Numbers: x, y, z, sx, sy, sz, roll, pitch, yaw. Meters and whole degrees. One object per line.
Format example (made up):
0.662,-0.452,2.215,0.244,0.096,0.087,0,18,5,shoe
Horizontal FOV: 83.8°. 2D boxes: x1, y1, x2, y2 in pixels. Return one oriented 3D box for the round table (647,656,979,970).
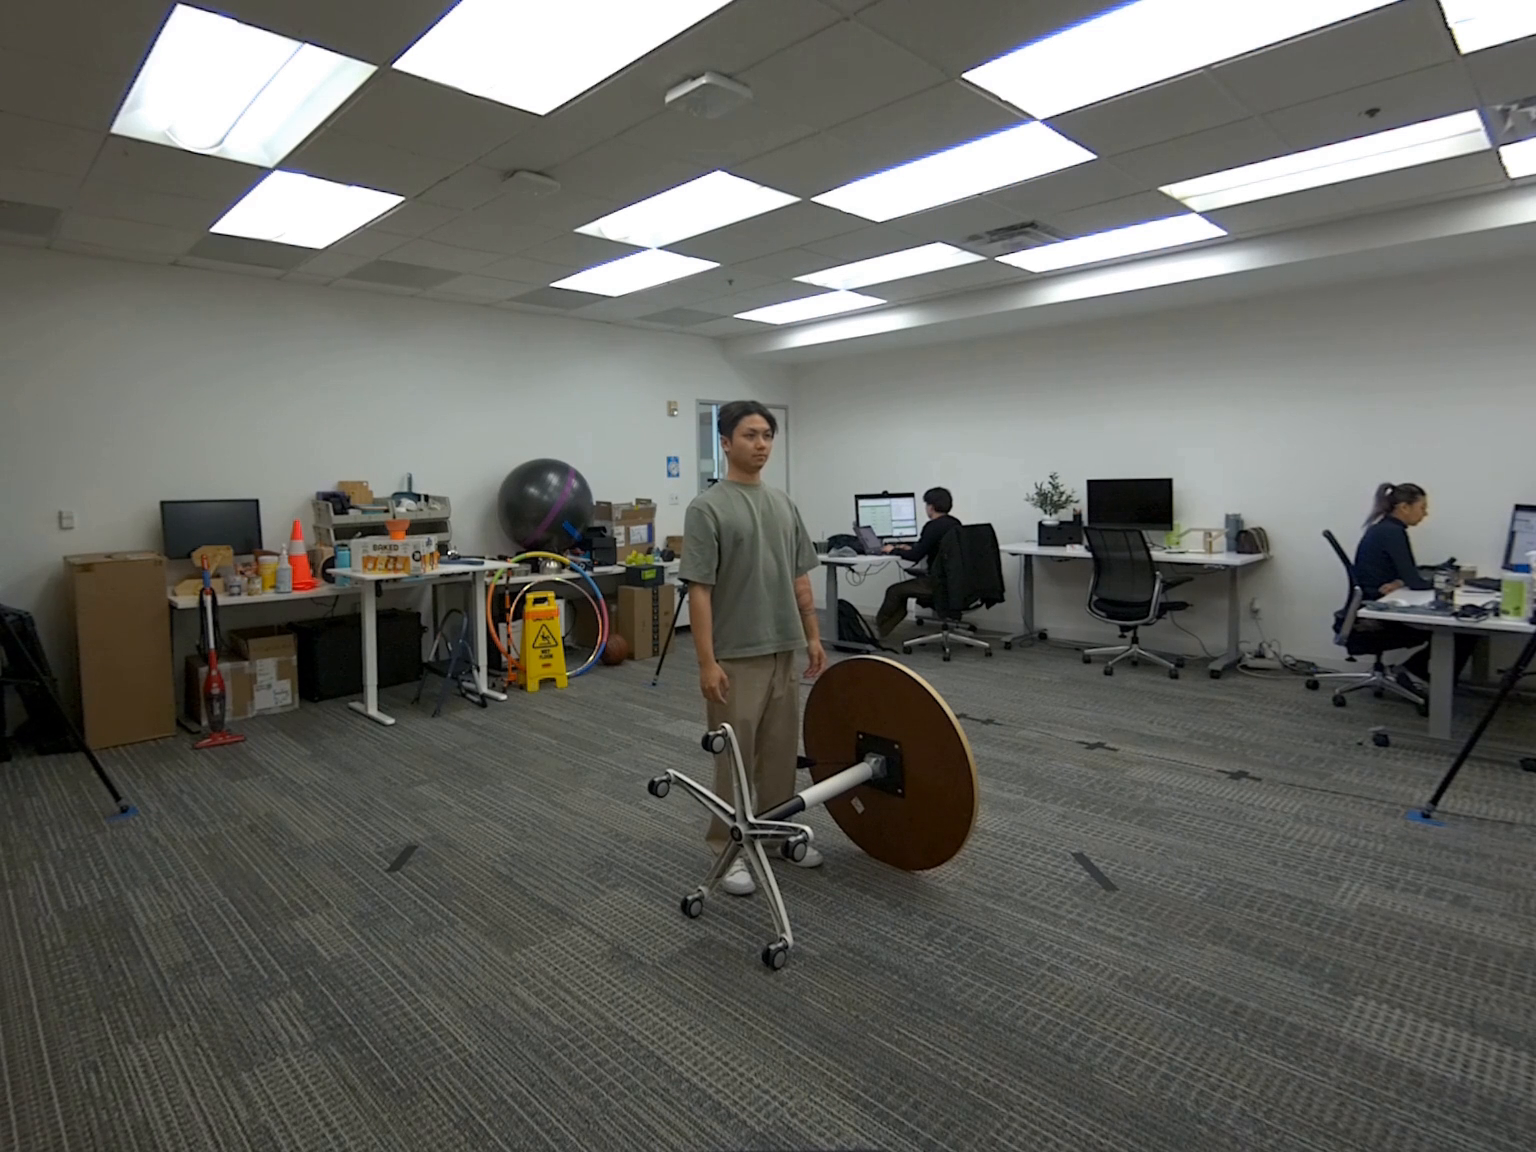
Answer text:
0.138,0.733,2.789,0.769,0.778,0.809,-14,12,-41,round table
